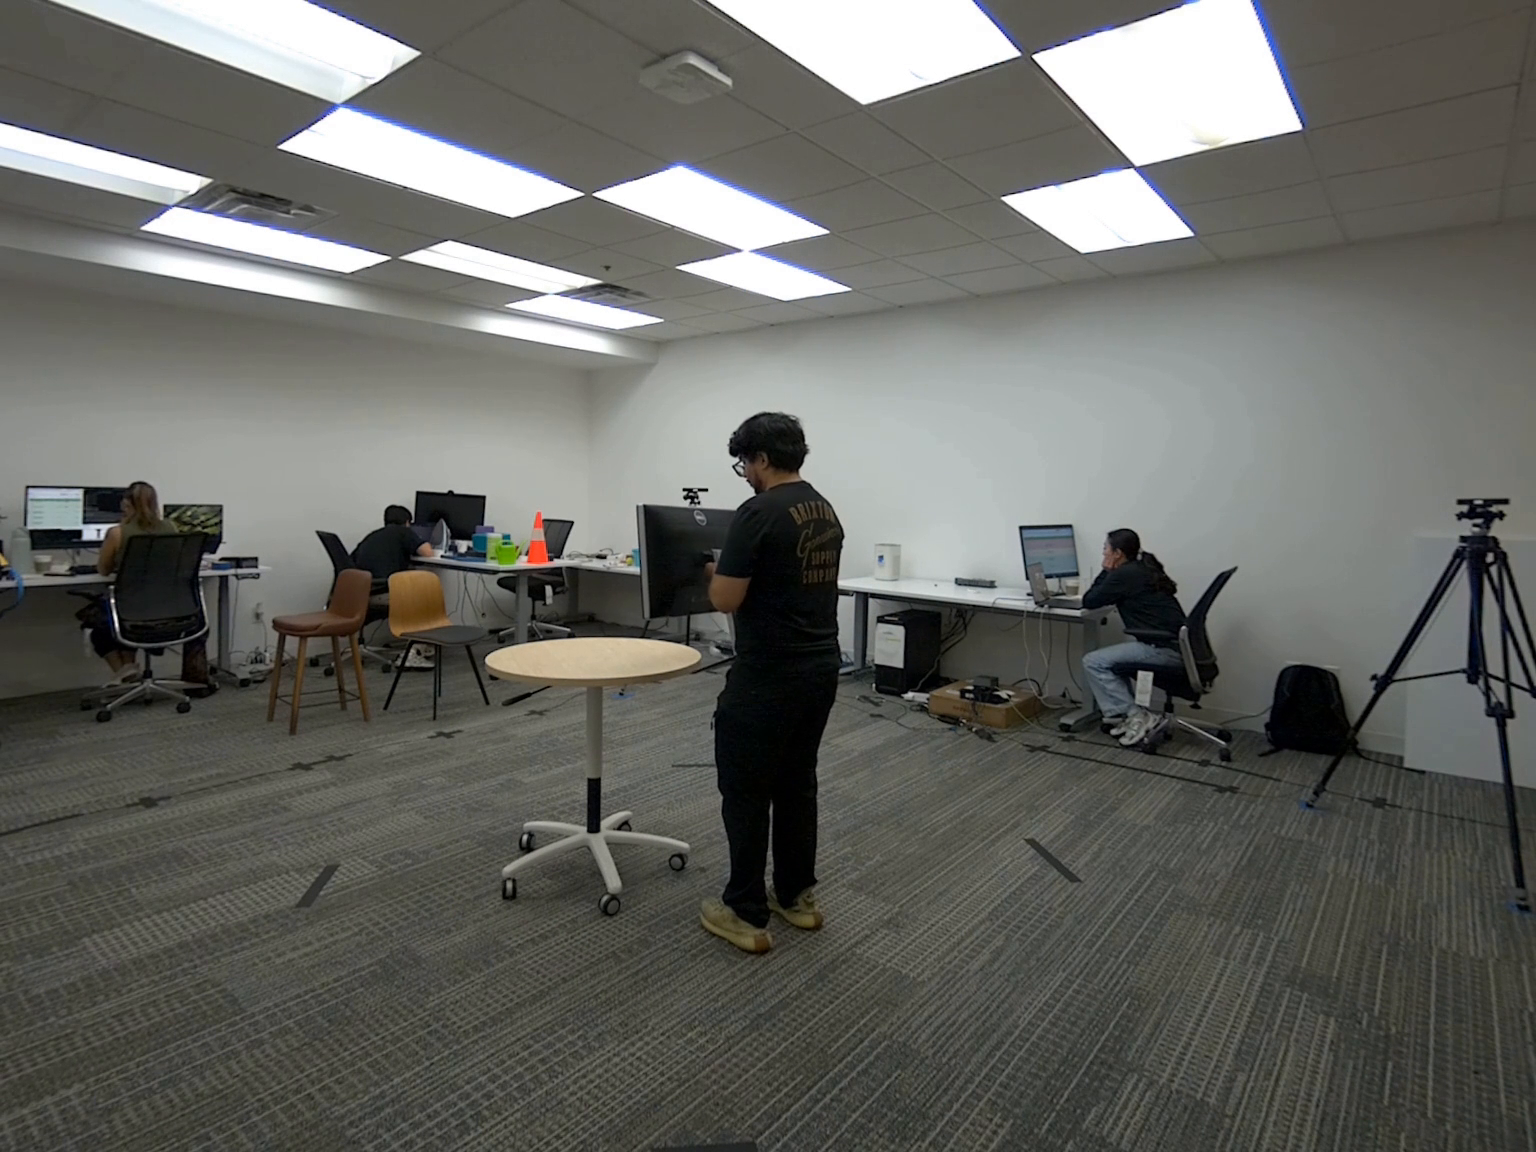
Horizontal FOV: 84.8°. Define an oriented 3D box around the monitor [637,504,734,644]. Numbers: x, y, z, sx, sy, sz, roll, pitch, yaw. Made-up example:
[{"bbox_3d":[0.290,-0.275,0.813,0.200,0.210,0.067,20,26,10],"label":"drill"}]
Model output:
[{"bbox_3d":[-0.182,0.020,2.833,0.215,0.559,0.548,-14,-8,33],"label":"monitor"}]
